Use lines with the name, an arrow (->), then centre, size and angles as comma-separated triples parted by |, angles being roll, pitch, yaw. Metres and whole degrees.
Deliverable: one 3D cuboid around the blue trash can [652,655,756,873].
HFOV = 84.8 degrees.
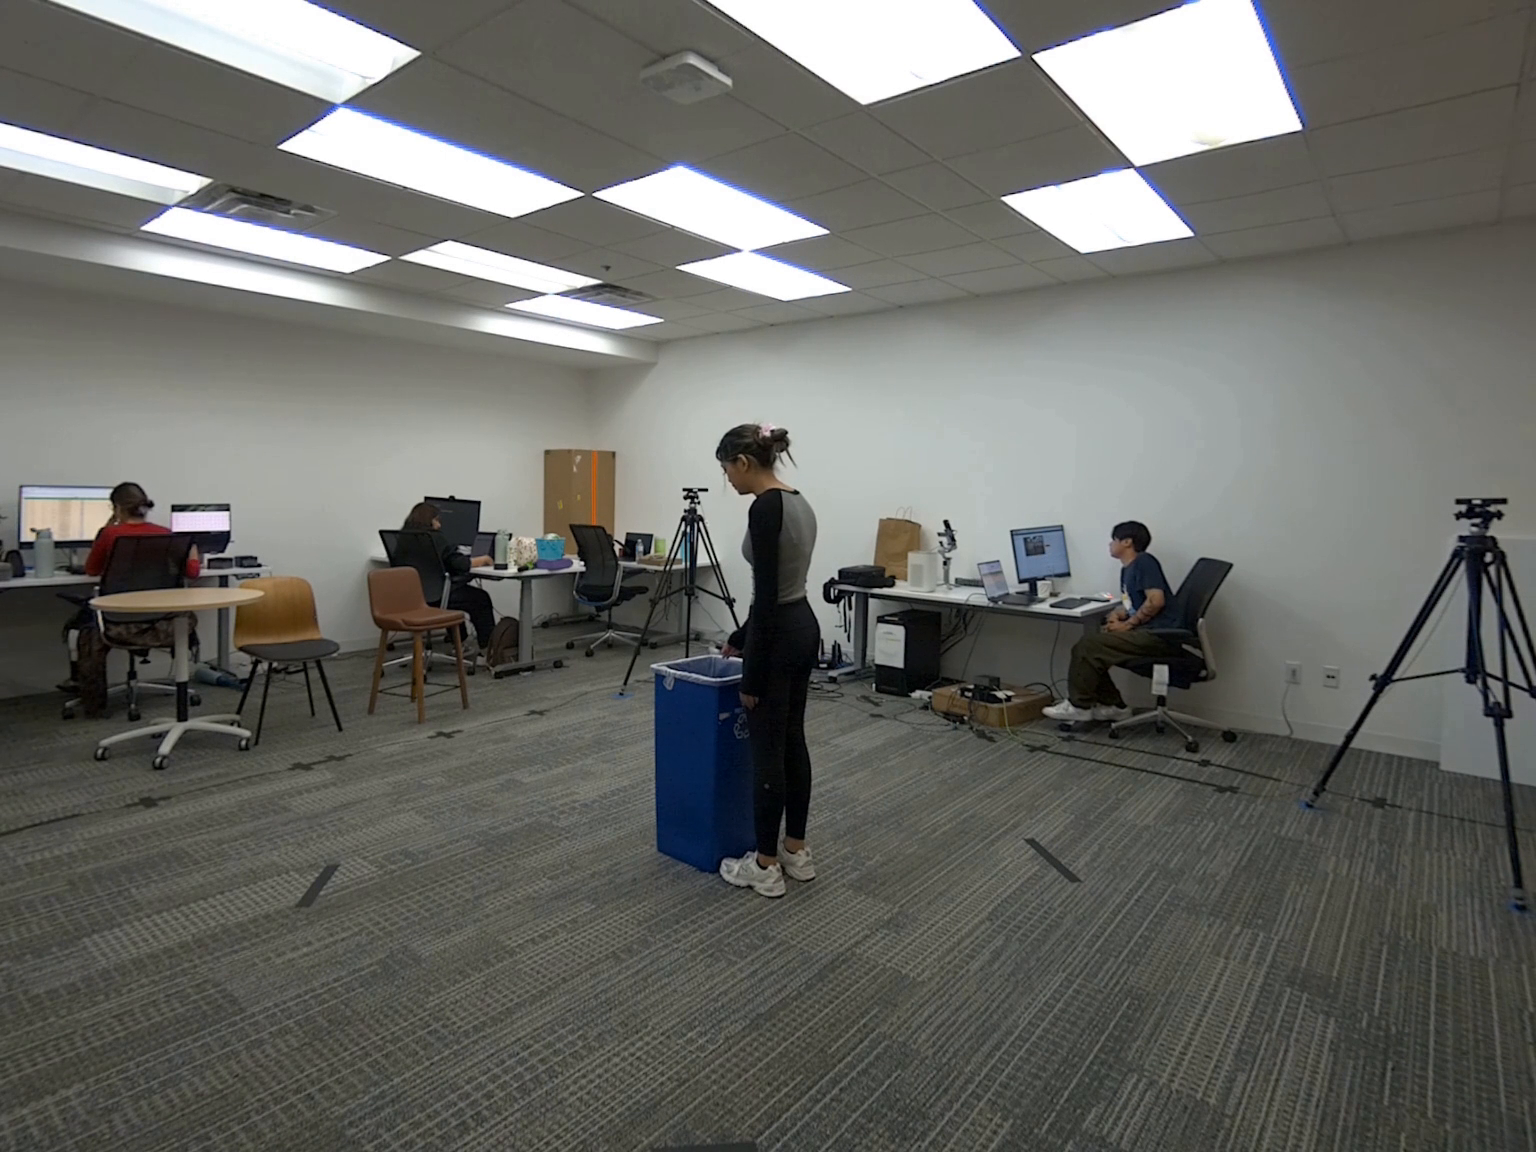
blue trash can -> -0.223, 0.695, 3.268 | 0.391, 0.711, 0.363 | 4, 4, 40
